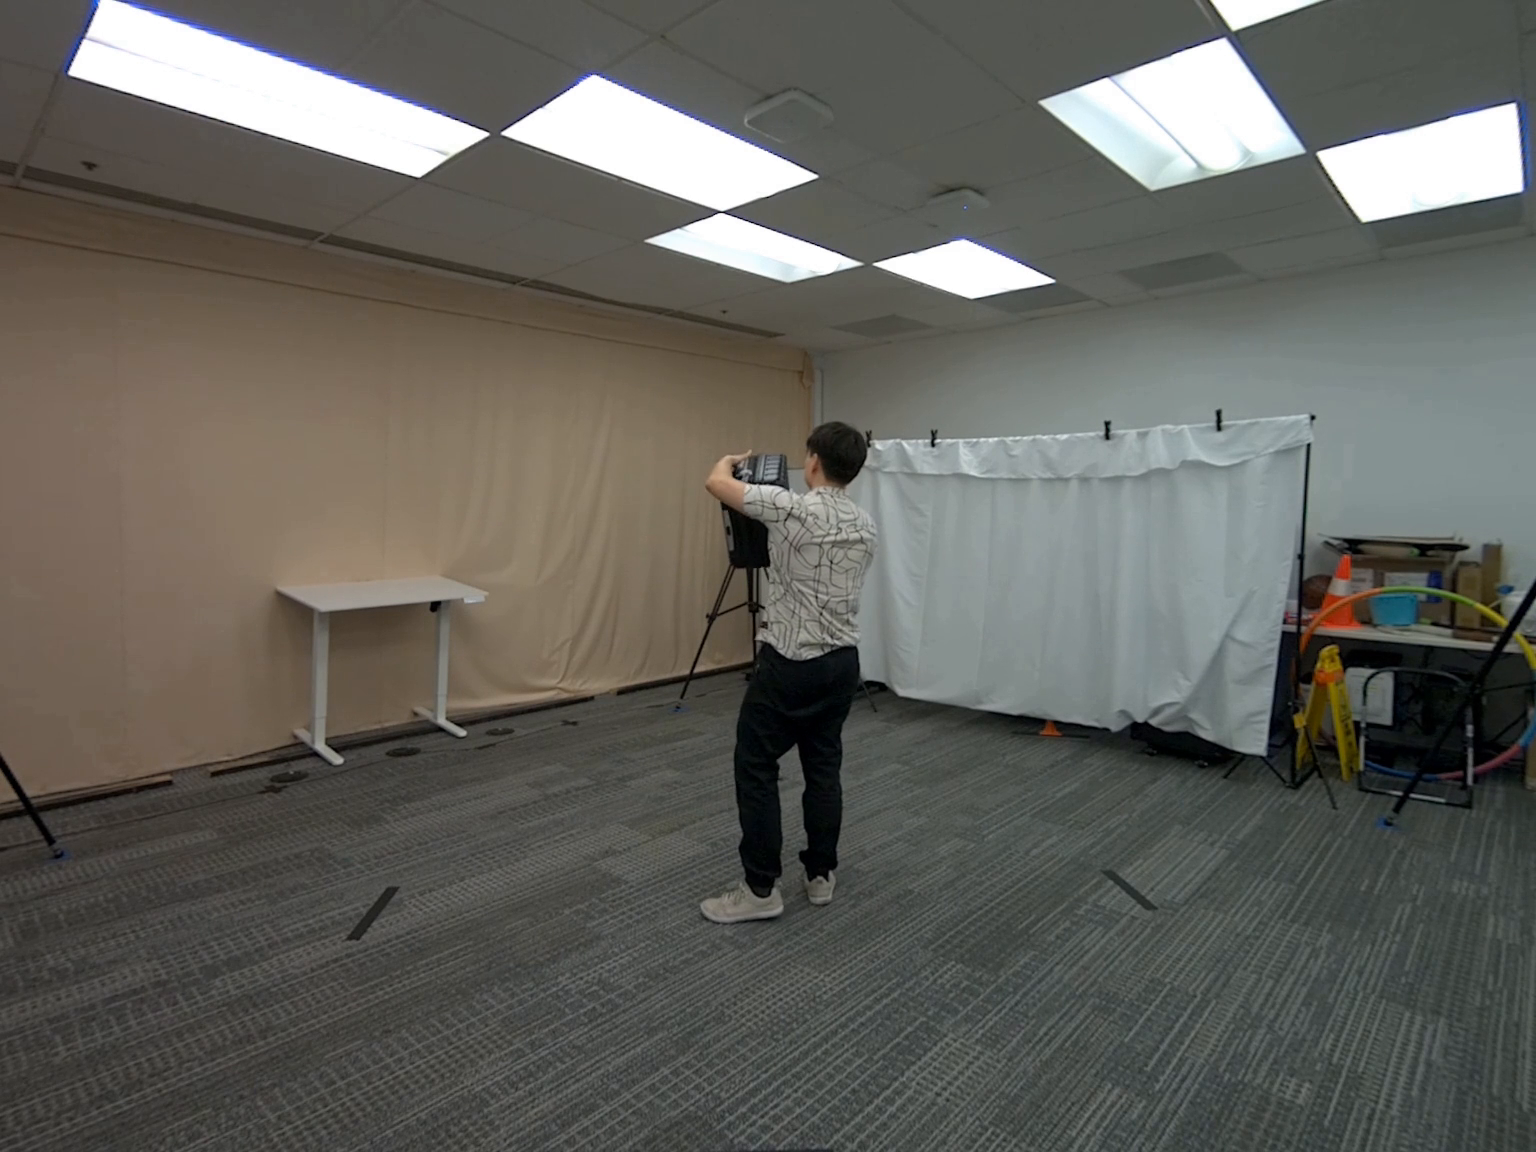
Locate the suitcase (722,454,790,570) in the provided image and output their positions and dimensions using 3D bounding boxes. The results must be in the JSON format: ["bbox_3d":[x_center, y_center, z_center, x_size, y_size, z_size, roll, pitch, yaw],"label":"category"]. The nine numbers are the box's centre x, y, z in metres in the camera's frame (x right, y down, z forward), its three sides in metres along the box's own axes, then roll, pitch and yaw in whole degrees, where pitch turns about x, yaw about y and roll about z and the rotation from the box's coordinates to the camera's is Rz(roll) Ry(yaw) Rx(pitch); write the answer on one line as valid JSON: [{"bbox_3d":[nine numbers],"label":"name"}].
[{"bbox_3d":[-0.037,-0.268,3.325,0.250,0.370,0.553,-6,18,5],"label":"suitcase"}]
